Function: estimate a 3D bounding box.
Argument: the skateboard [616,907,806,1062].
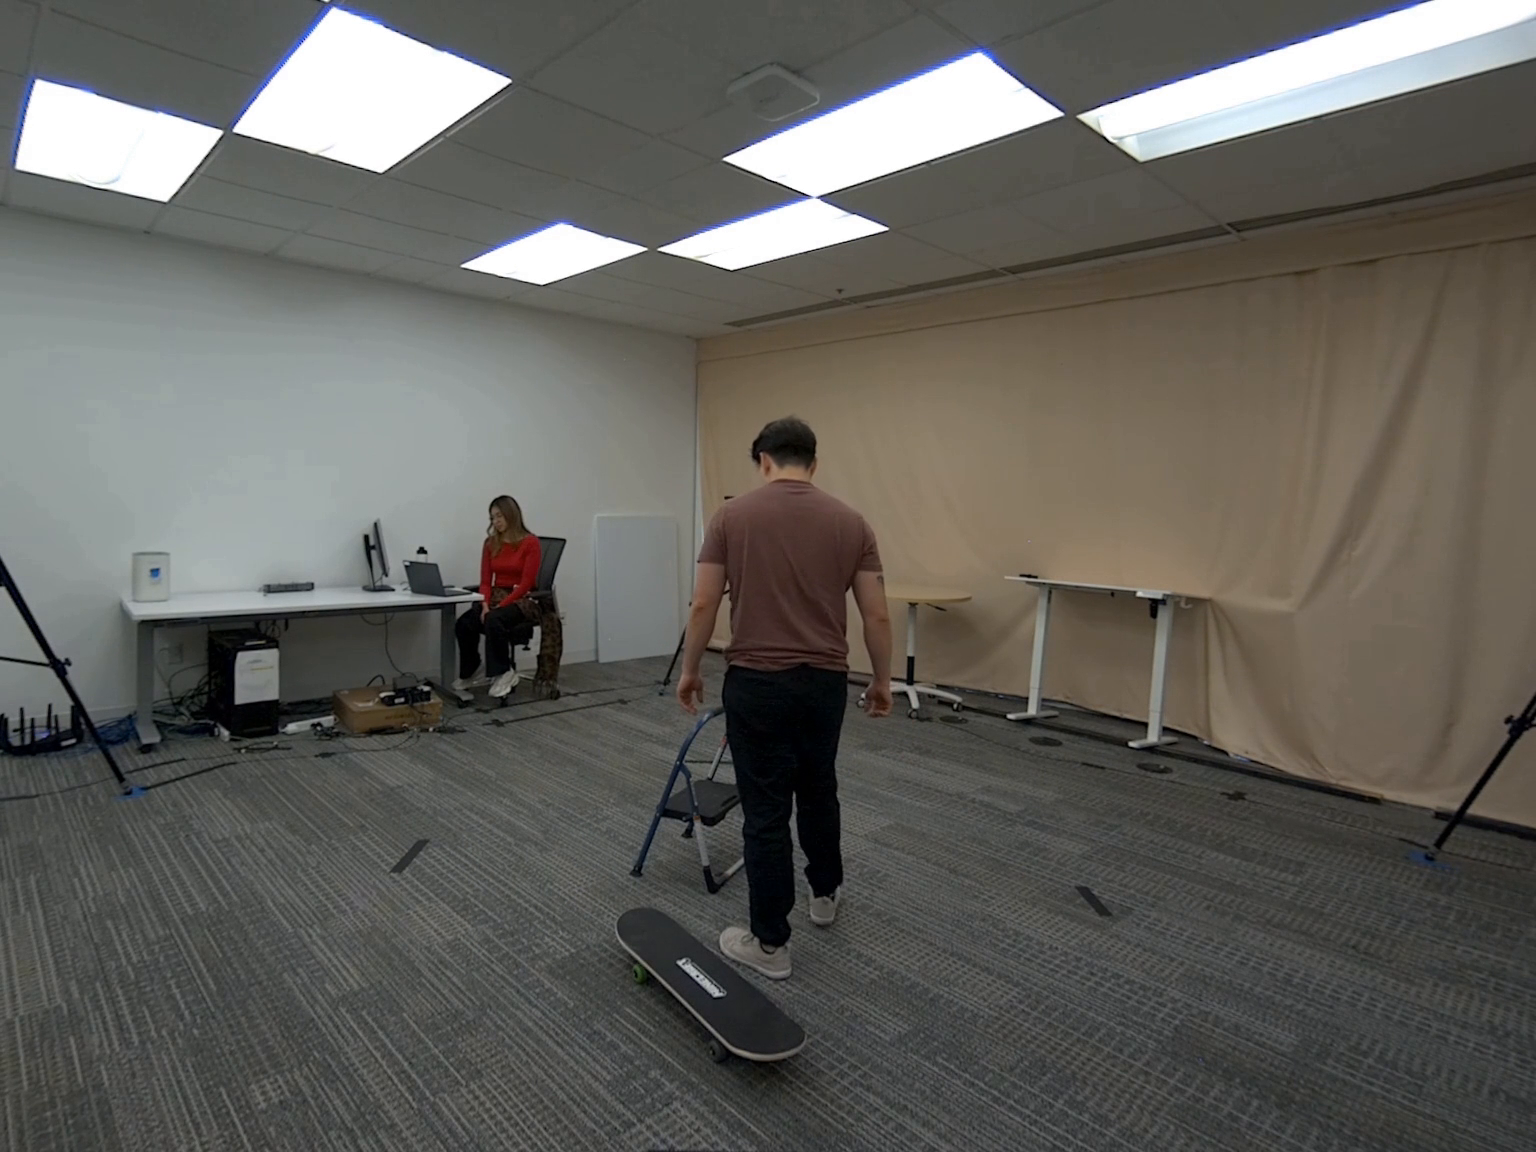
[{"bbox_3d":[-0.197,1.128,2.285,0.189,0.110,0.805,-3,7,-36],"label":"skateboard"}]
